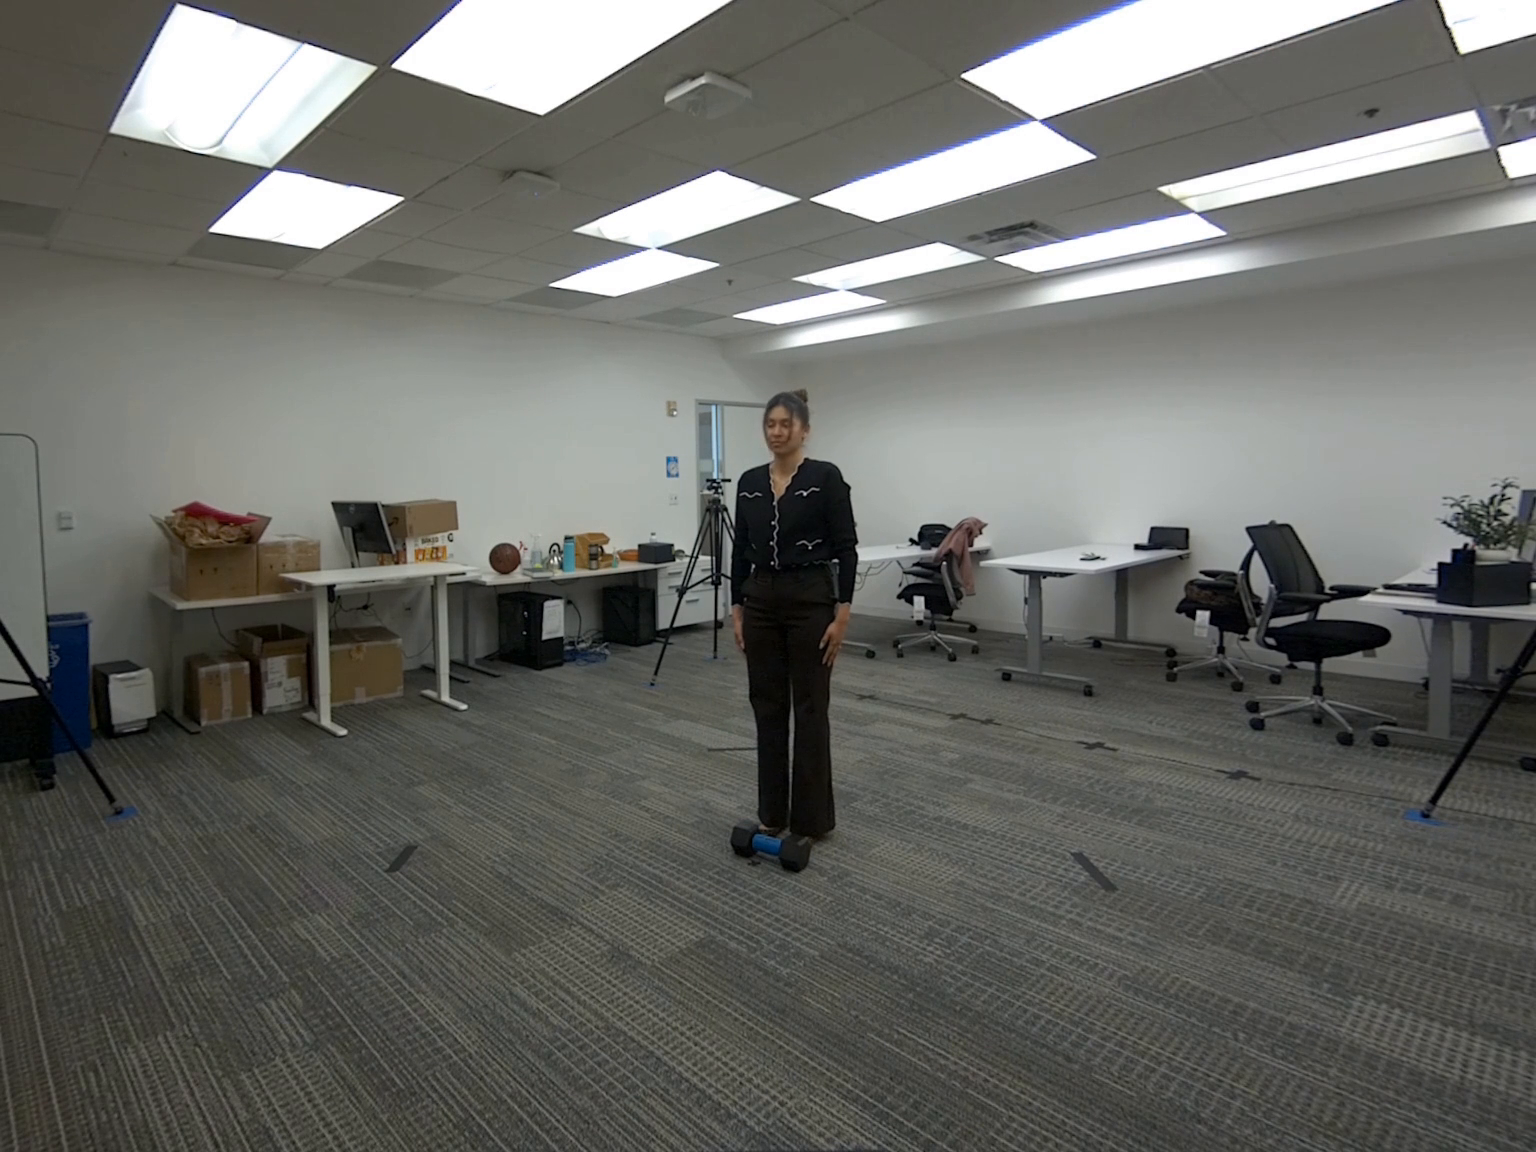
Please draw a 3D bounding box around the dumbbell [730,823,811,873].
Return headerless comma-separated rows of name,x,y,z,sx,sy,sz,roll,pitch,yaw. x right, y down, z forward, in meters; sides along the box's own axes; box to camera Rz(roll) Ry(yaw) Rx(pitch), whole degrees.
dumbbell,0.008,0.992,3.127,0.302,0.108,0.120,3,9,35
